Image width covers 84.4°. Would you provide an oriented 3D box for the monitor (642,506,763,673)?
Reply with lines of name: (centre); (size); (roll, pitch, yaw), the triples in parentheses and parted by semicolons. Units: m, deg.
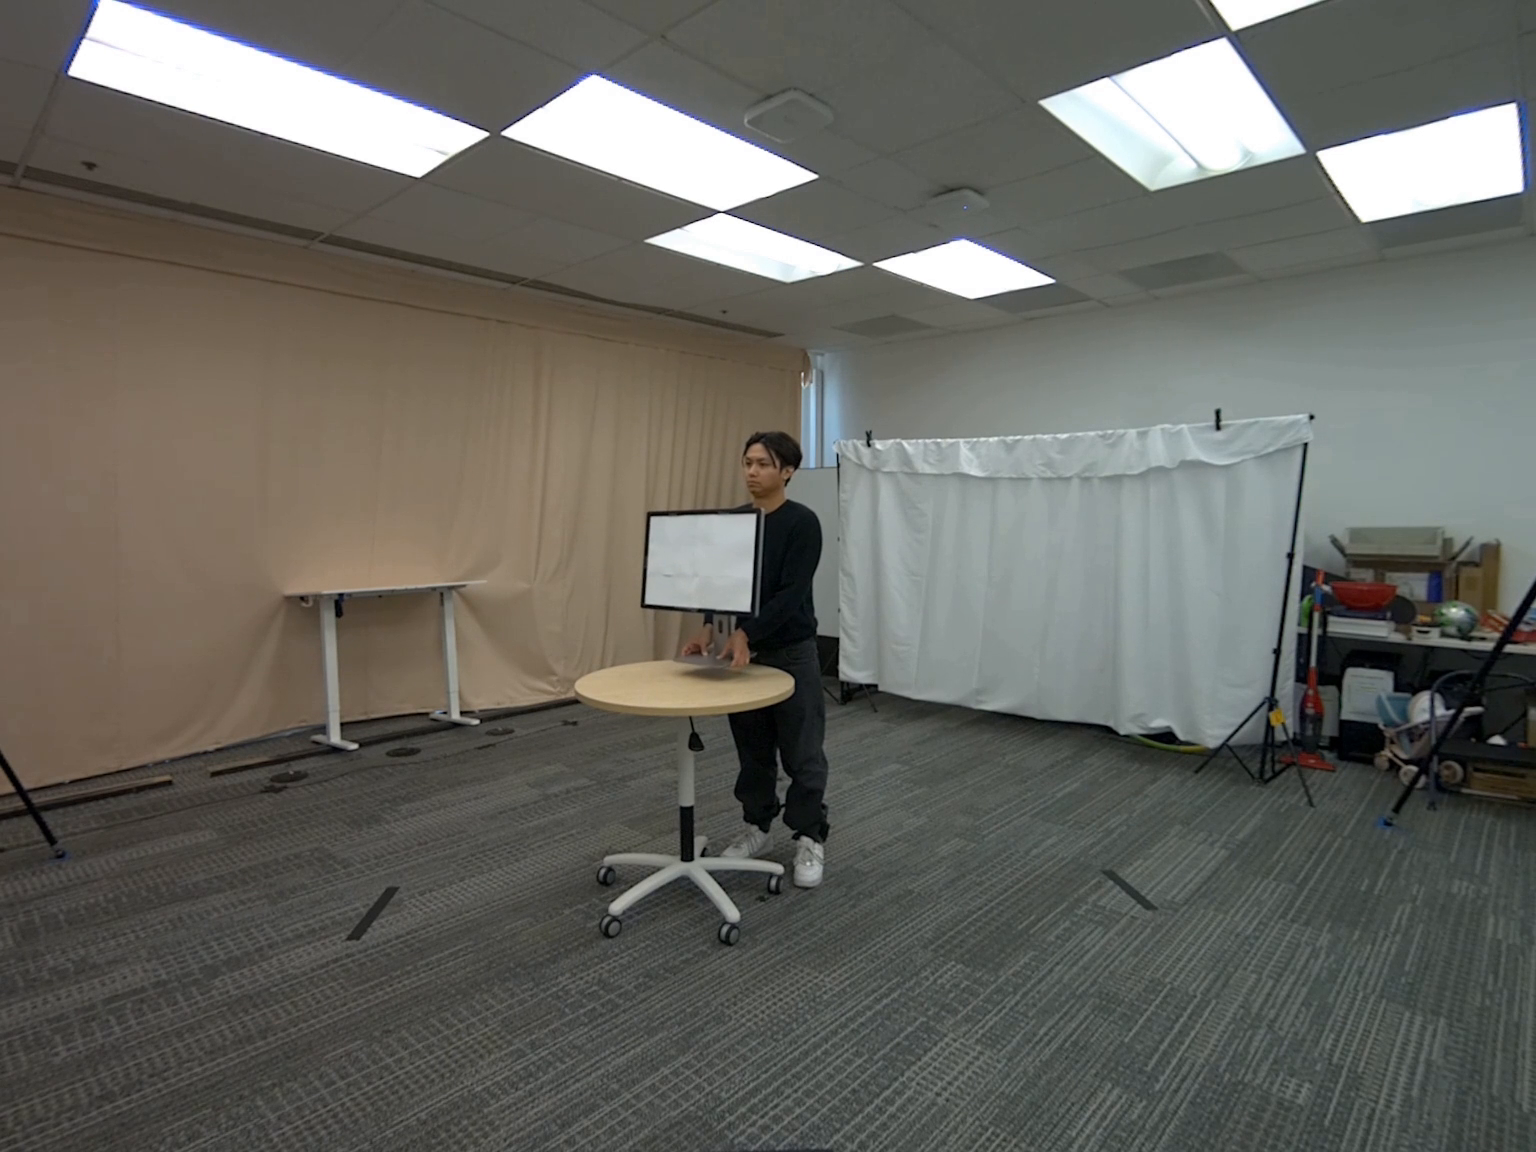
monitor: (-0.215, 0.031, 3.014); (0.556, 0.520, 0.182); (1, 9, 40)
